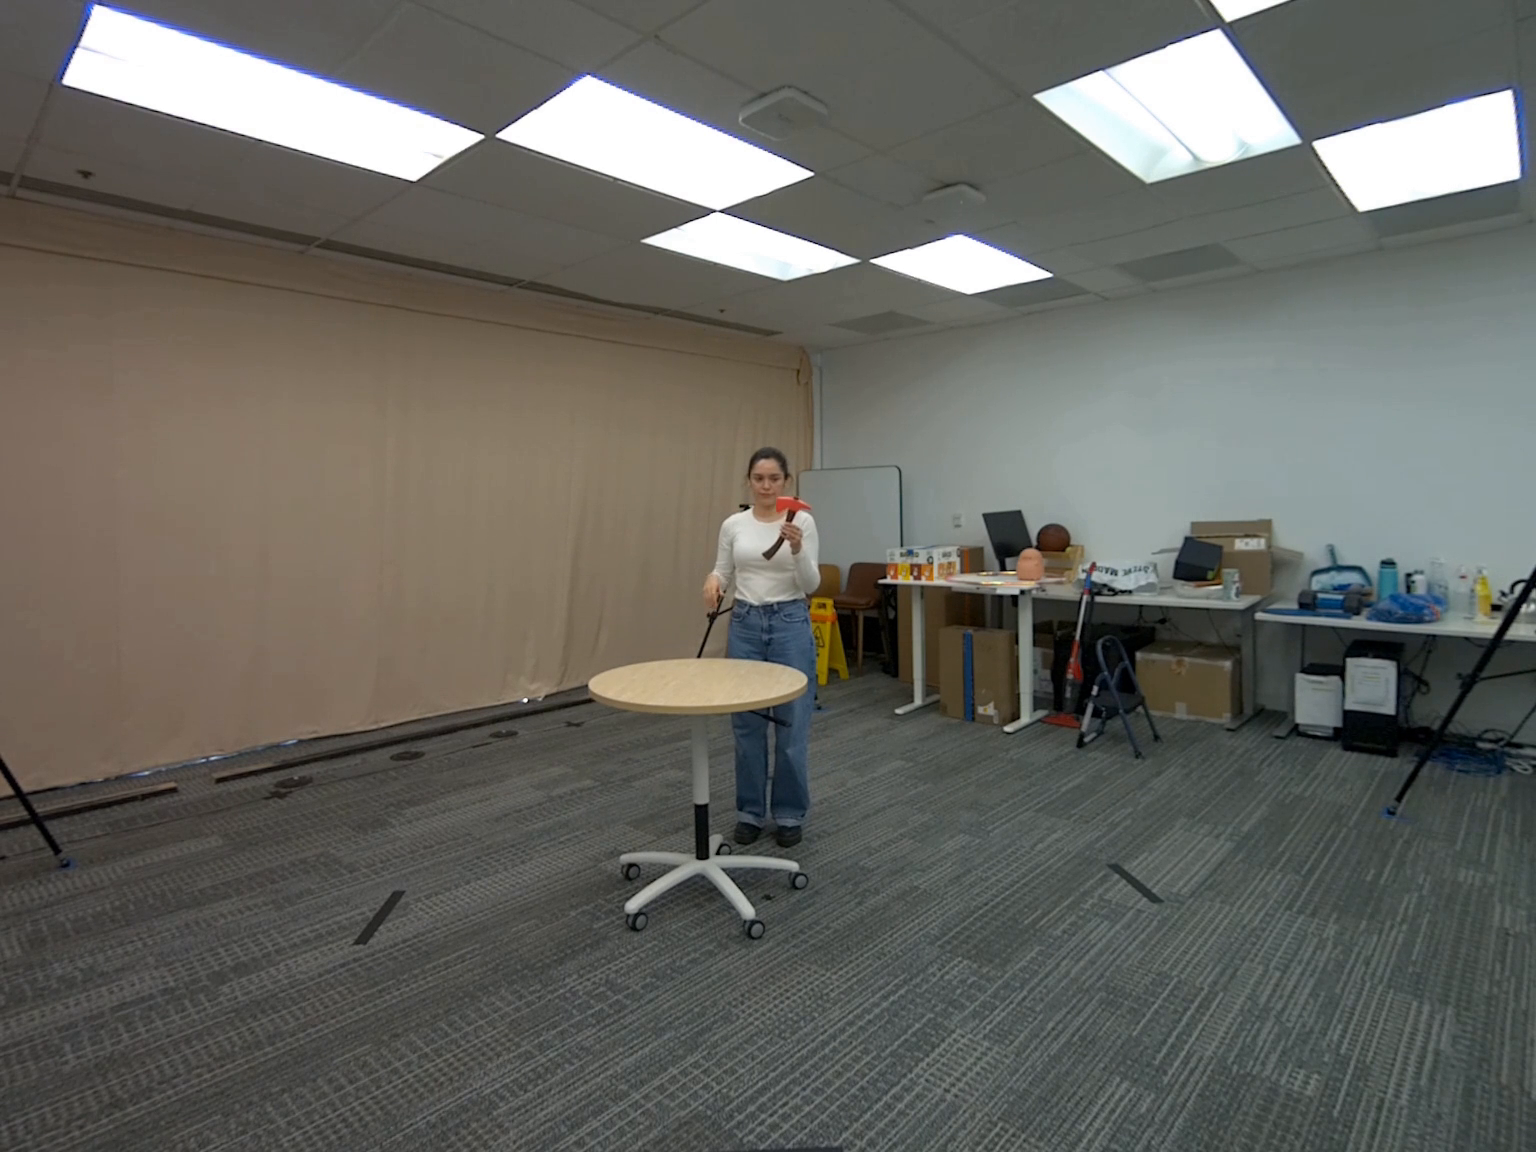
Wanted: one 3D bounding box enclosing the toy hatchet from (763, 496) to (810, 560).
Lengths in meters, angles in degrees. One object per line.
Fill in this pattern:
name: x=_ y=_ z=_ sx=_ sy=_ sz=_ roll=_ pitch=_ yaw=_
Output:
toy hatchet: x=0.031 y=-0.190 z=3.186 sx=0.129 sy=0.271 sz=0.030 roll=33 pitch=18 yaw=-14
